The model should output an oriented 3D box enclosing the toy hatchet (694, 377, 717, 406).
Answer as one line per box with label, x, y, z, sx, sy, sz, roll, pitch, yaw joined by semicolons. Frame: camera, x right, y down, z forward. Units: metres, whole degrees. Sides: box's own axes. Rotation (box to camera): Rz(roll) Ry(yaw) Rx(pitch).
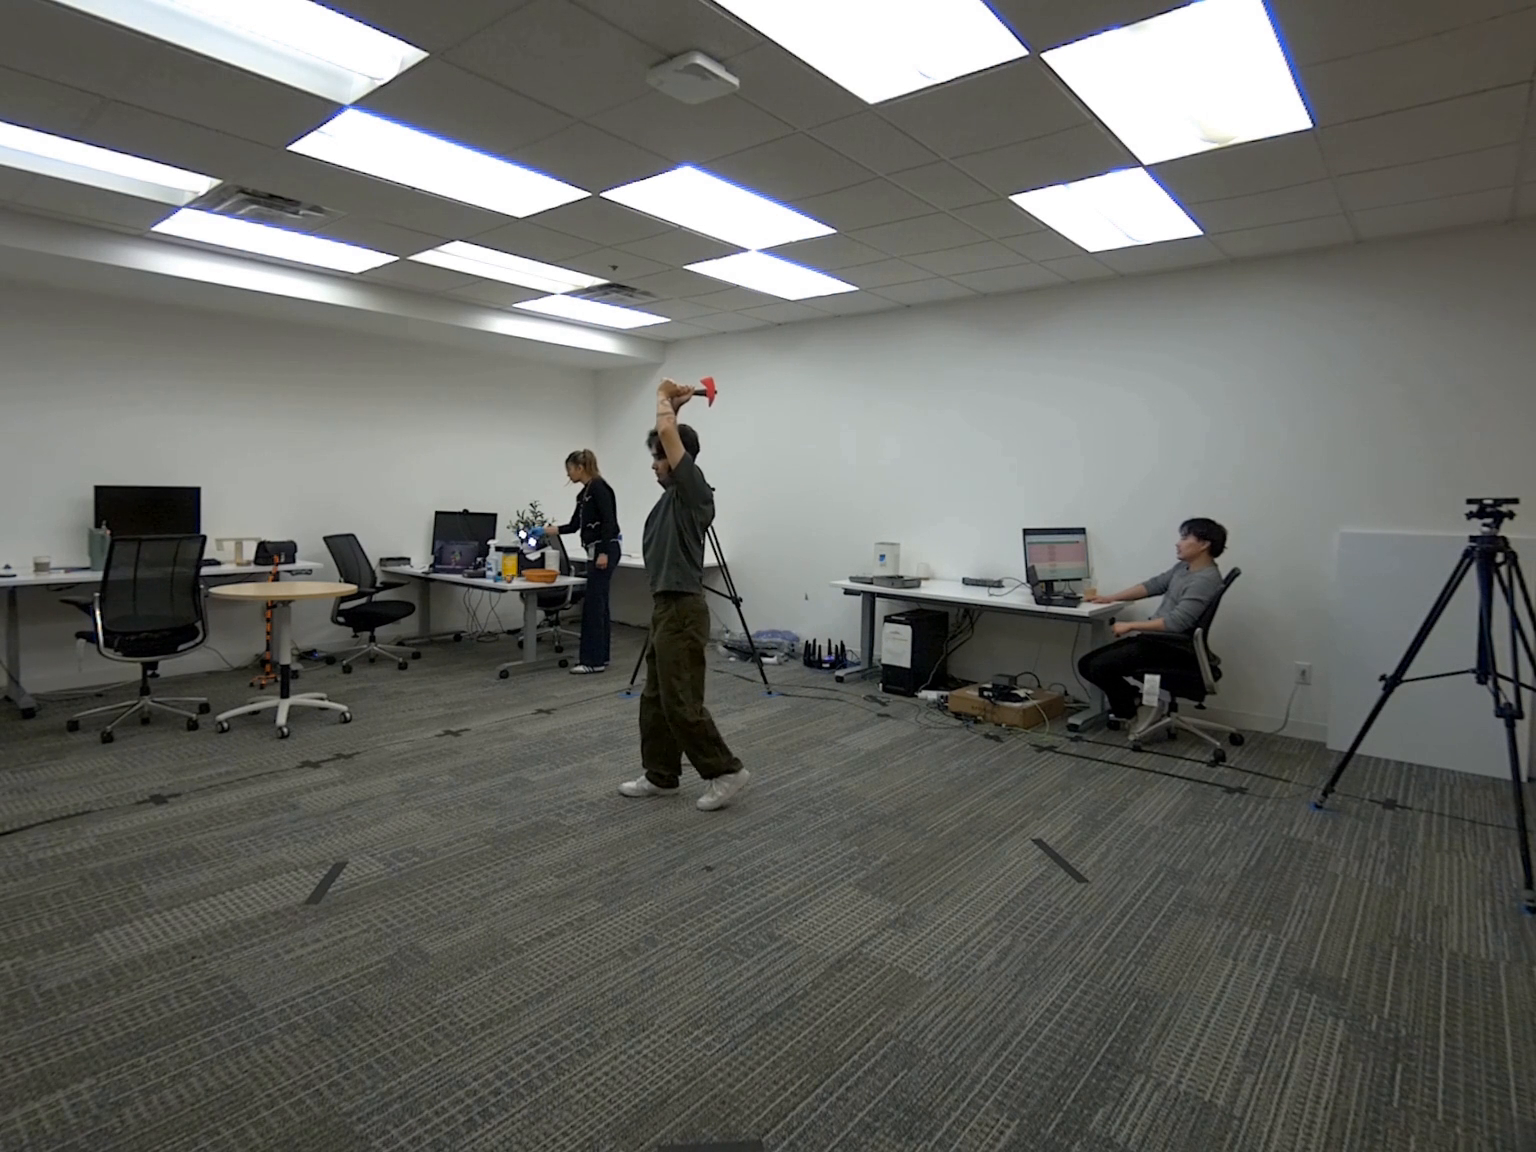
toy hatchet;-0.370;-0.861;3.792;0.265;0.130;0.030;16;14;-16
